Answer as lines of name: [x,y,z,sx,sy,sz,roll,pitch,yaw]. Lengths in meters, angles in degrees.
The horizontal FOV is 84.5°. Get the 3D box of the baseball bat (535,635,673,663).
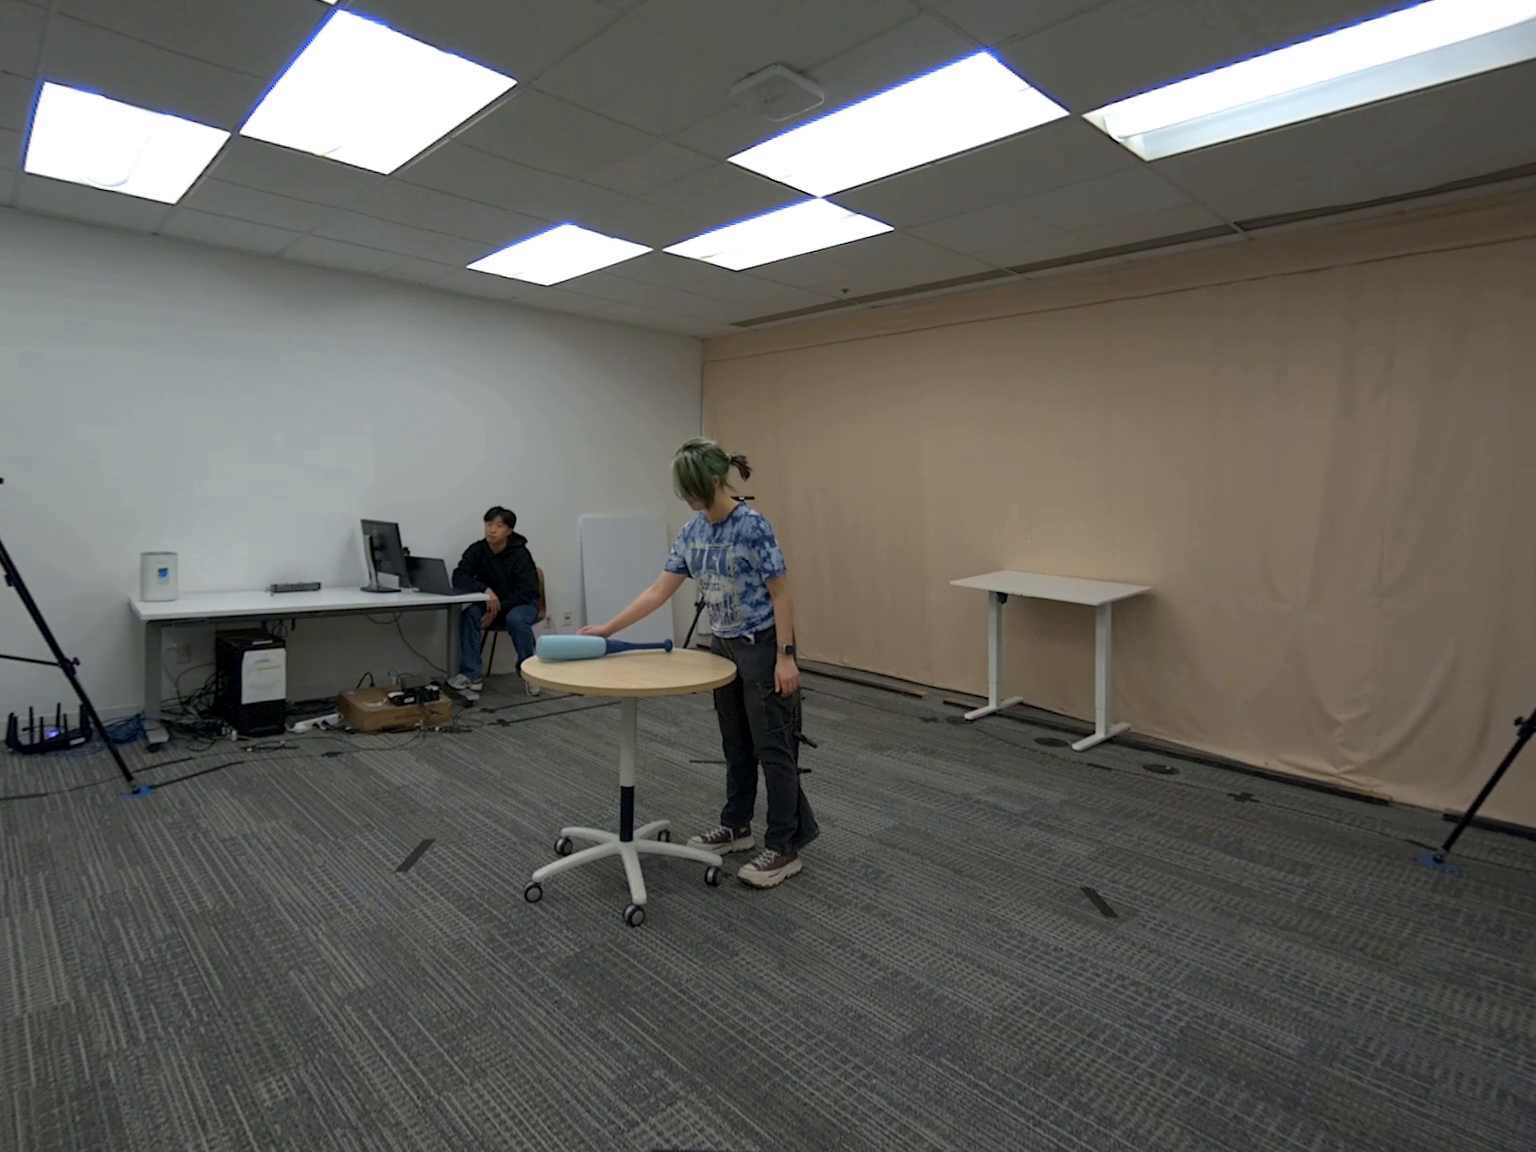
baseball bat: [-0.609,0.272,3.152,0.530,0.089,0.091,3,3,-34]
